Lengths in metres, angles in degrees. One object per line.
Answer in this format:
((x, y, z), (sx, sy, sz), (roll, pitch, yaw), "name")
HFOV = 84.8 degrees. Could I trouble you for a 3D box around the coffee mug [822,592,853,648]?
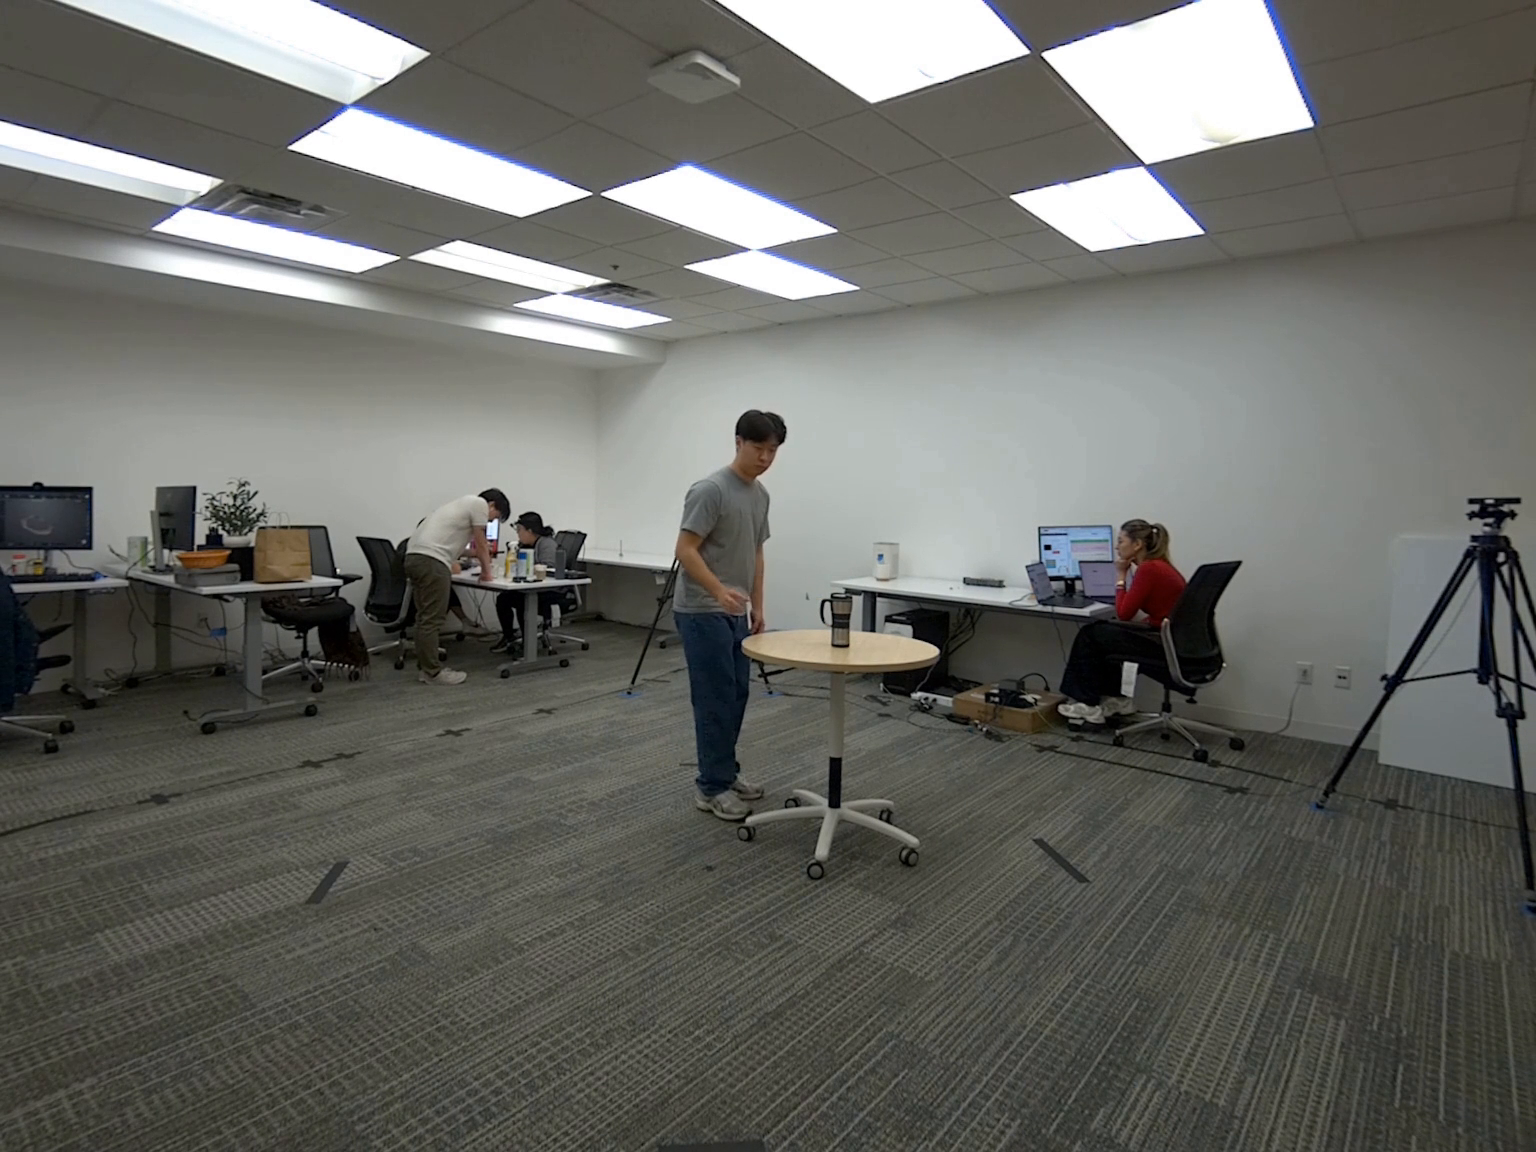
((0.261, 0.168, 3.326), (0.126, 0.201, 0.086), (8, 11, 32), "coffee mug")
